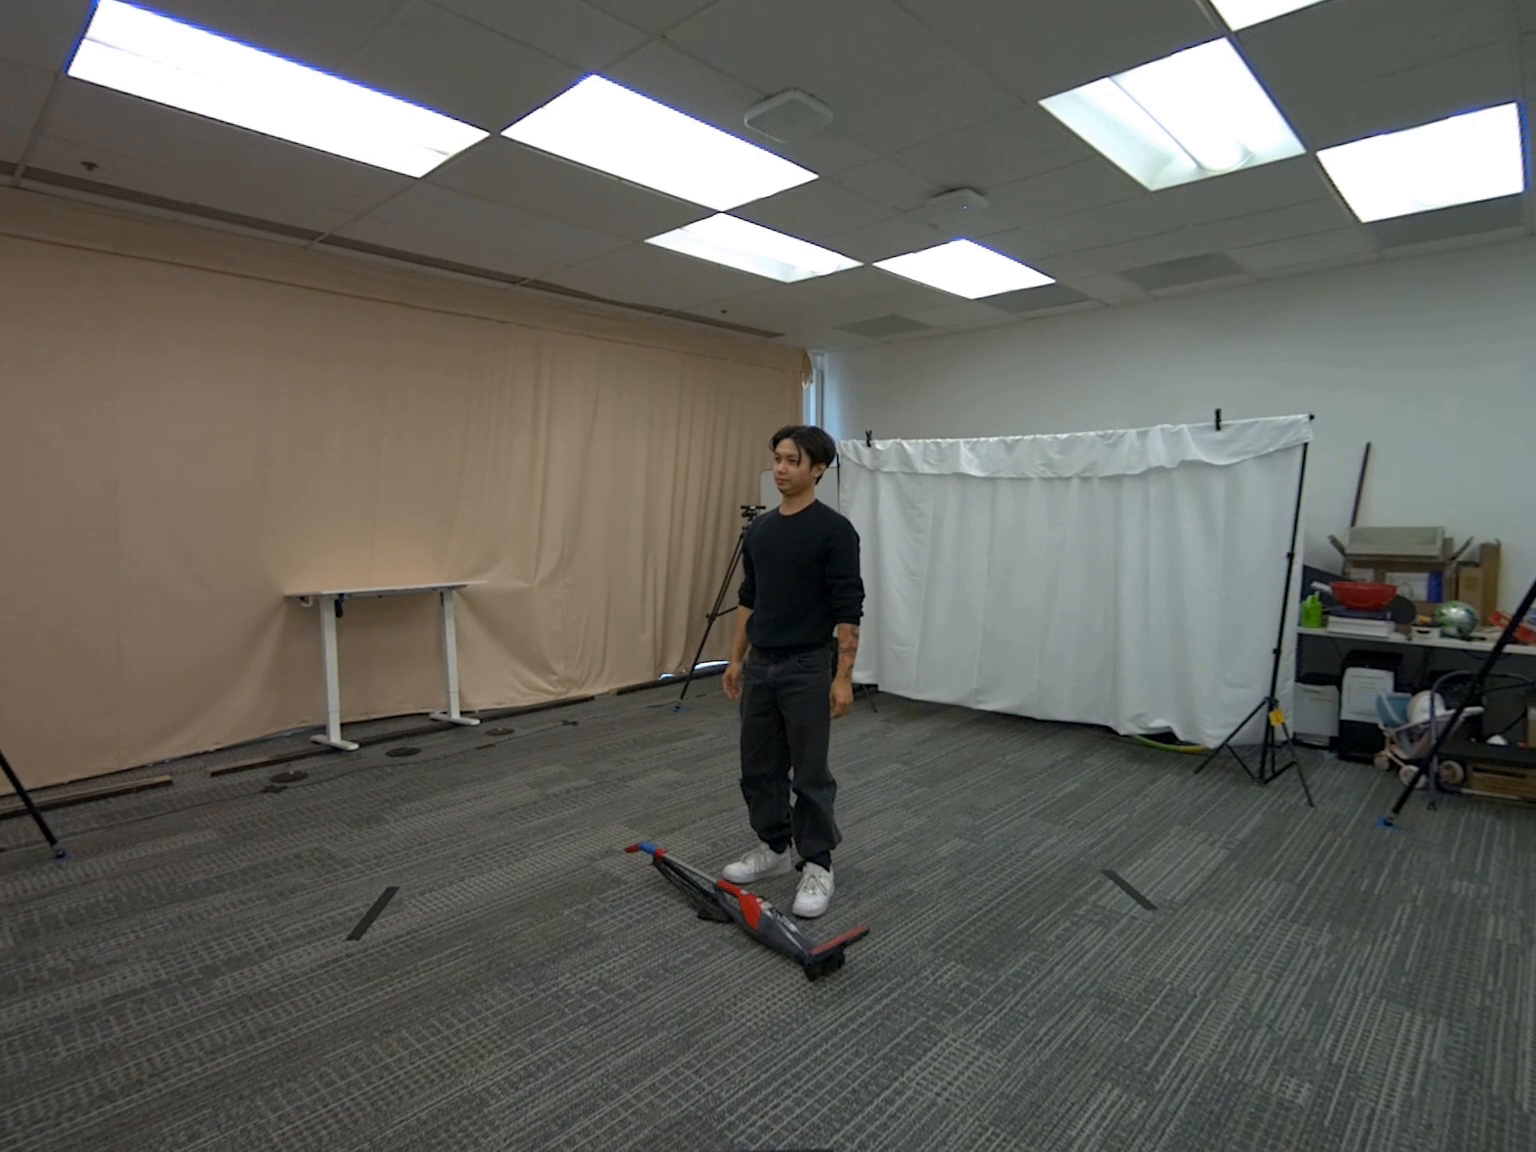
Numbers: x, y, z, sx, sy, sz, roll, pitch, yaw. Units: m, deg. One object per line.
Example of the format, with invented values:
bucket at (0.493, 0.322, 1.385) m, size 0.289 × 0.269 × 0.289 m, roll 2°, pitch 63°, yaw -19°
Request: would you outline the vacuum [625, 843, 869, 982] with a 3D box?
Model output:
vacuum at (-0.181, 1.089, 2.868) m, size 0.244 × 0.144 × 1.084 m, roll 1°, pitch 2°, yaw -43°
